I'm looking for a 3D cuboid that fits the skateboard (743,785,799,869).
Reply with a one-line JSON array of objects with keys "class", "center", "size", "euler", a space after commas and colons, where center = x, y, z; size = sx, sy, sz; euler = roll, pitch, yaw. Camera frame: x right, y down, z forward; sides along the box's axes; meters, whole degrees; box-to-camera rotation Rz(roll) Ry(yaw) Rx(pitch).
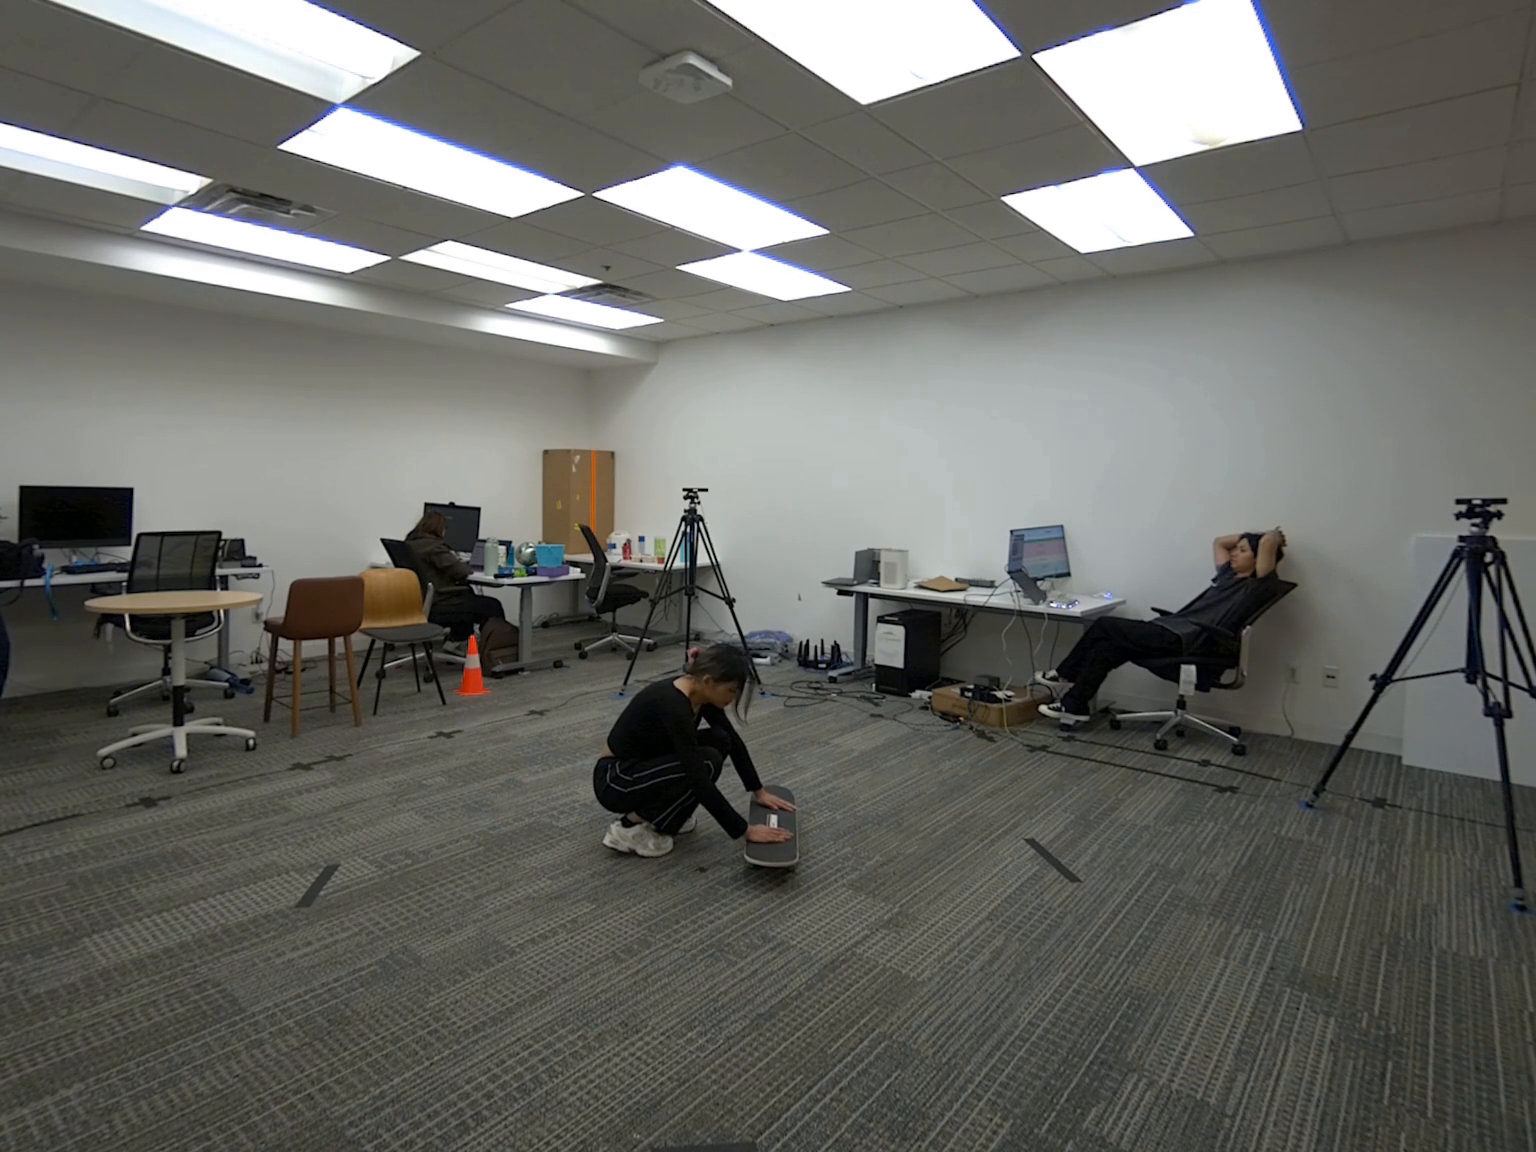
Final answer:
[{"class": "skateboard", "center": [0.004, 0.993, 3.313], "size": [0.194, 0.110, 0.786], "euler": [2, 5, 1]}]
